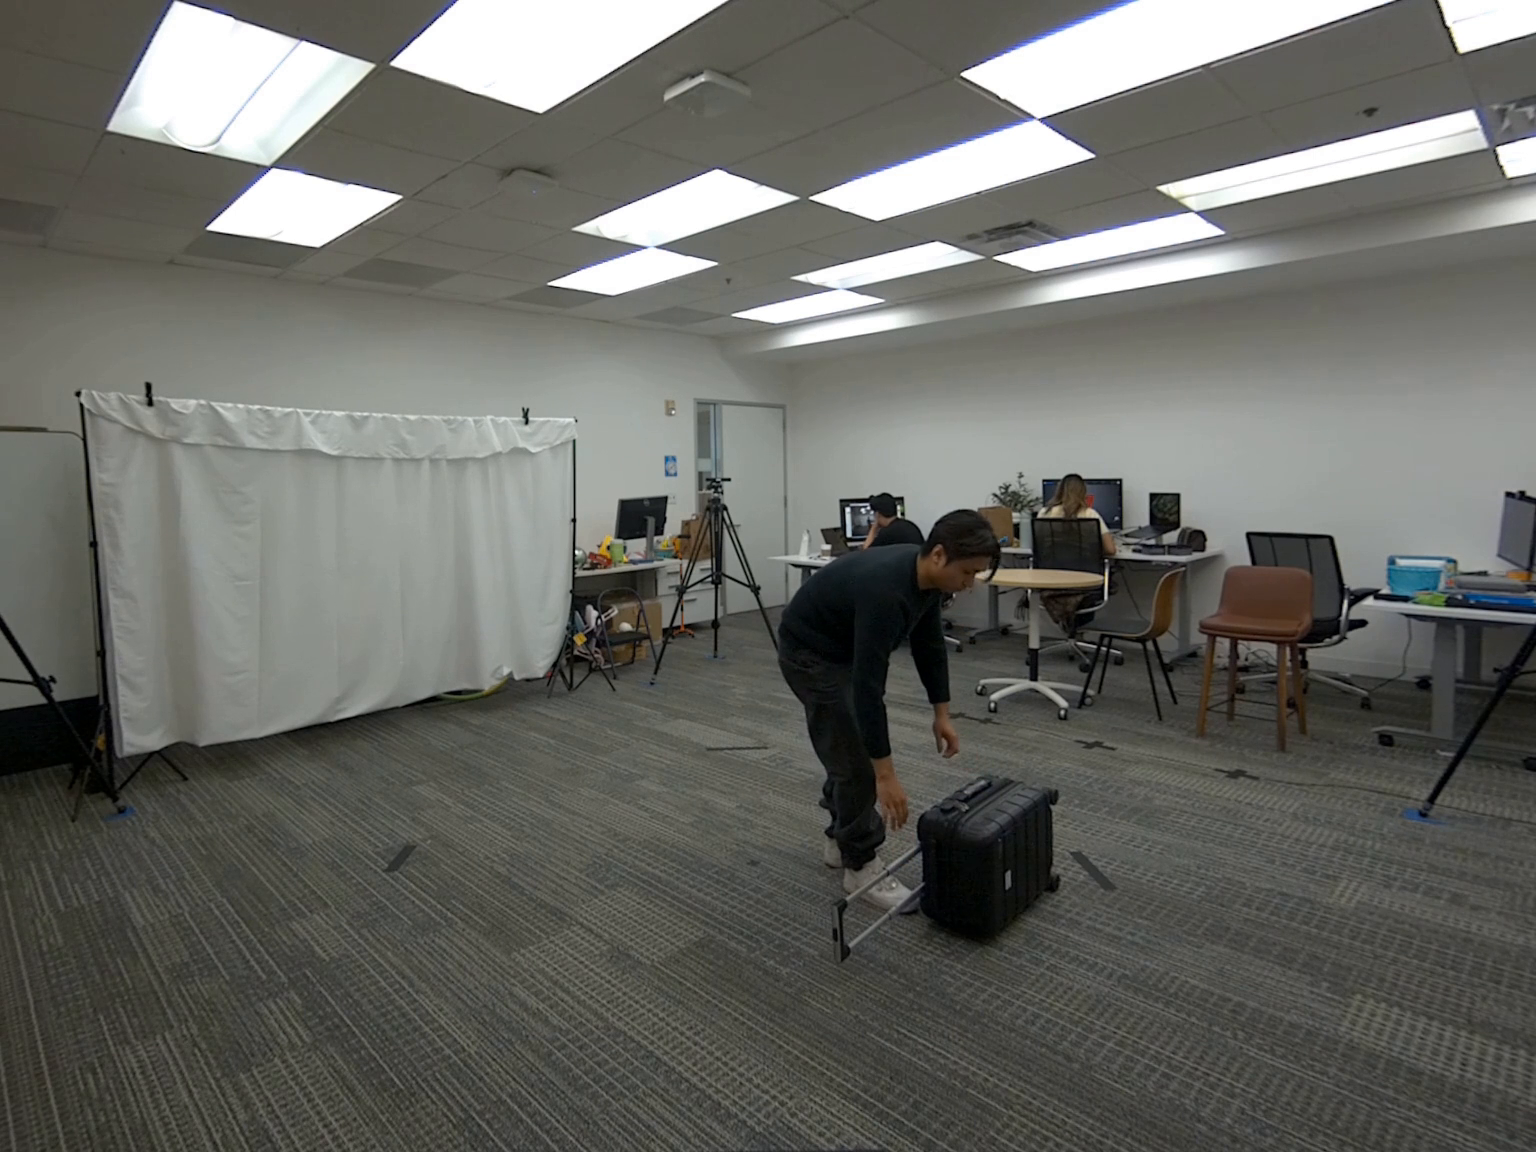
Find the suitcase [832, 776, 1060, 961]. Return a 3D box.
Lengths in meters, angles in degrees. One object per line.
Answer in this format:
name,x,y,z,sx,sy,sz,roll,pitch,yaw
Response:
suitcase,0.583,0.901,2.591,0.264,0.382,0.954,1,7,39
